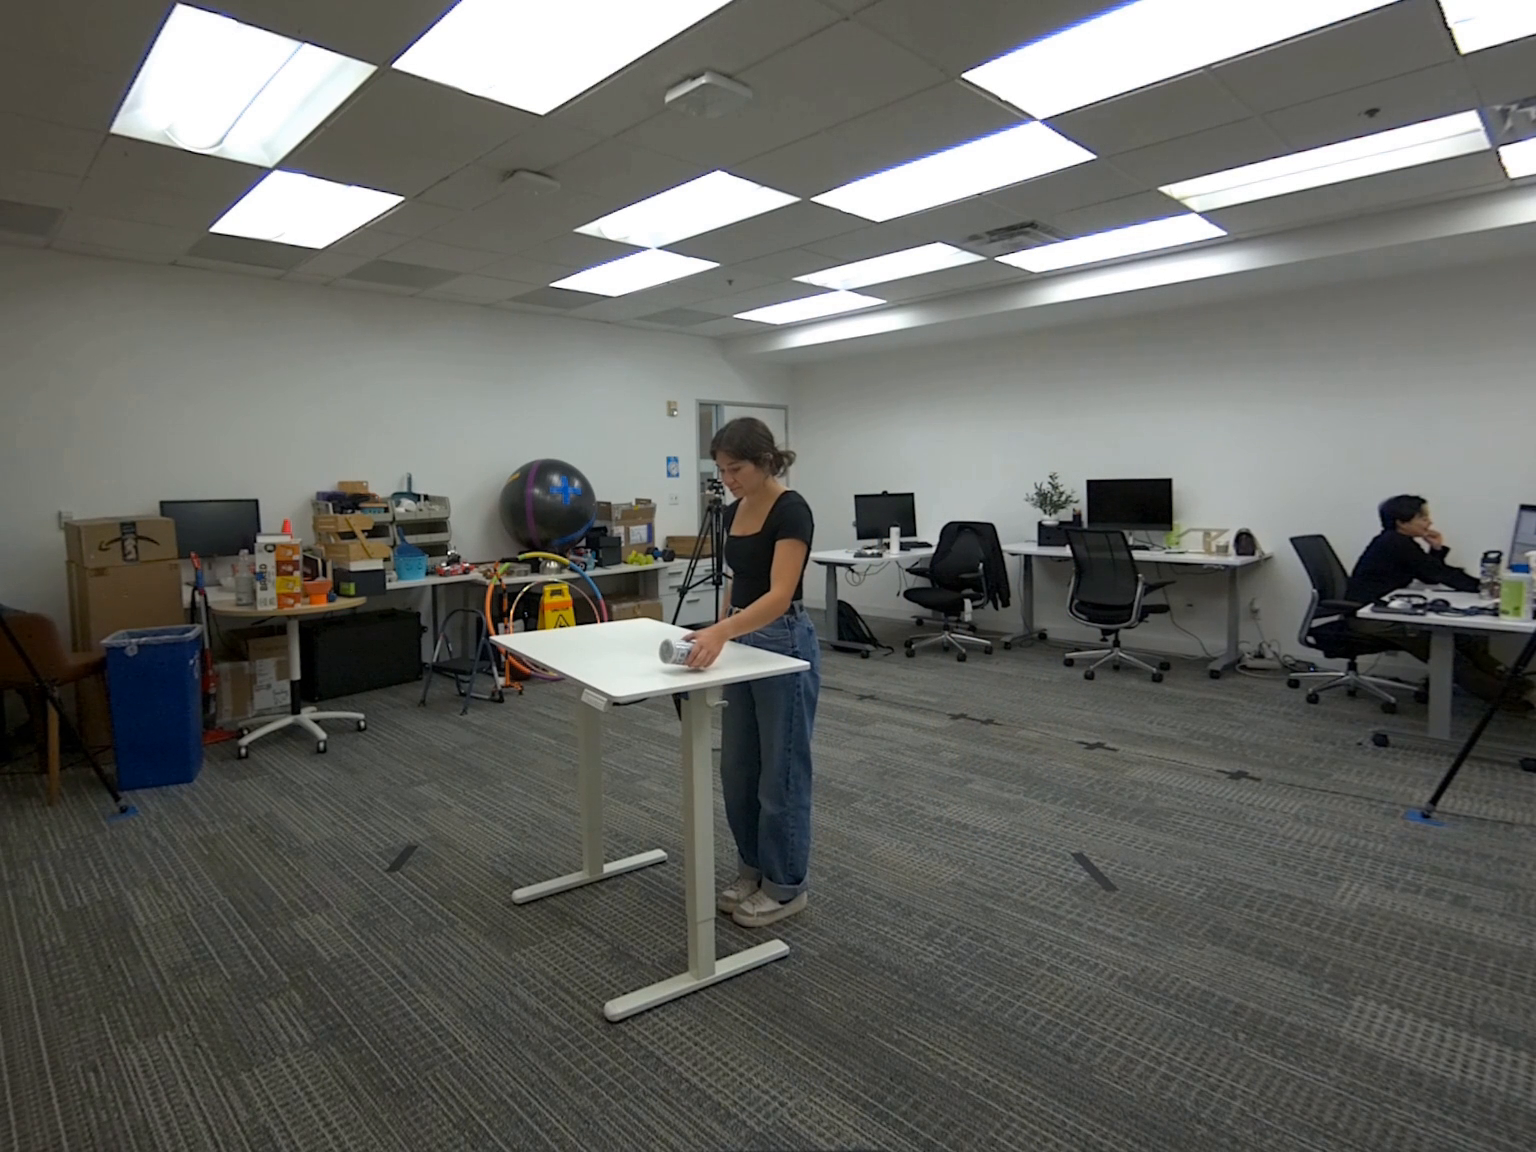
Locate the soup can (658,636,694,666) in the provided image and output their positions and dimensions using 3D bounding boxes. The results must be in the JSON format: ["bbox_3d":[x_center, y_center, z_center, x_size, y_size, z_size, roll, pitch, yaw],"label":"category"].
[{"bbox_3d":[-0.227,0.207,2.313,0.118,0.067,0.069,12,-4,-35],"label":"soup can"}]
